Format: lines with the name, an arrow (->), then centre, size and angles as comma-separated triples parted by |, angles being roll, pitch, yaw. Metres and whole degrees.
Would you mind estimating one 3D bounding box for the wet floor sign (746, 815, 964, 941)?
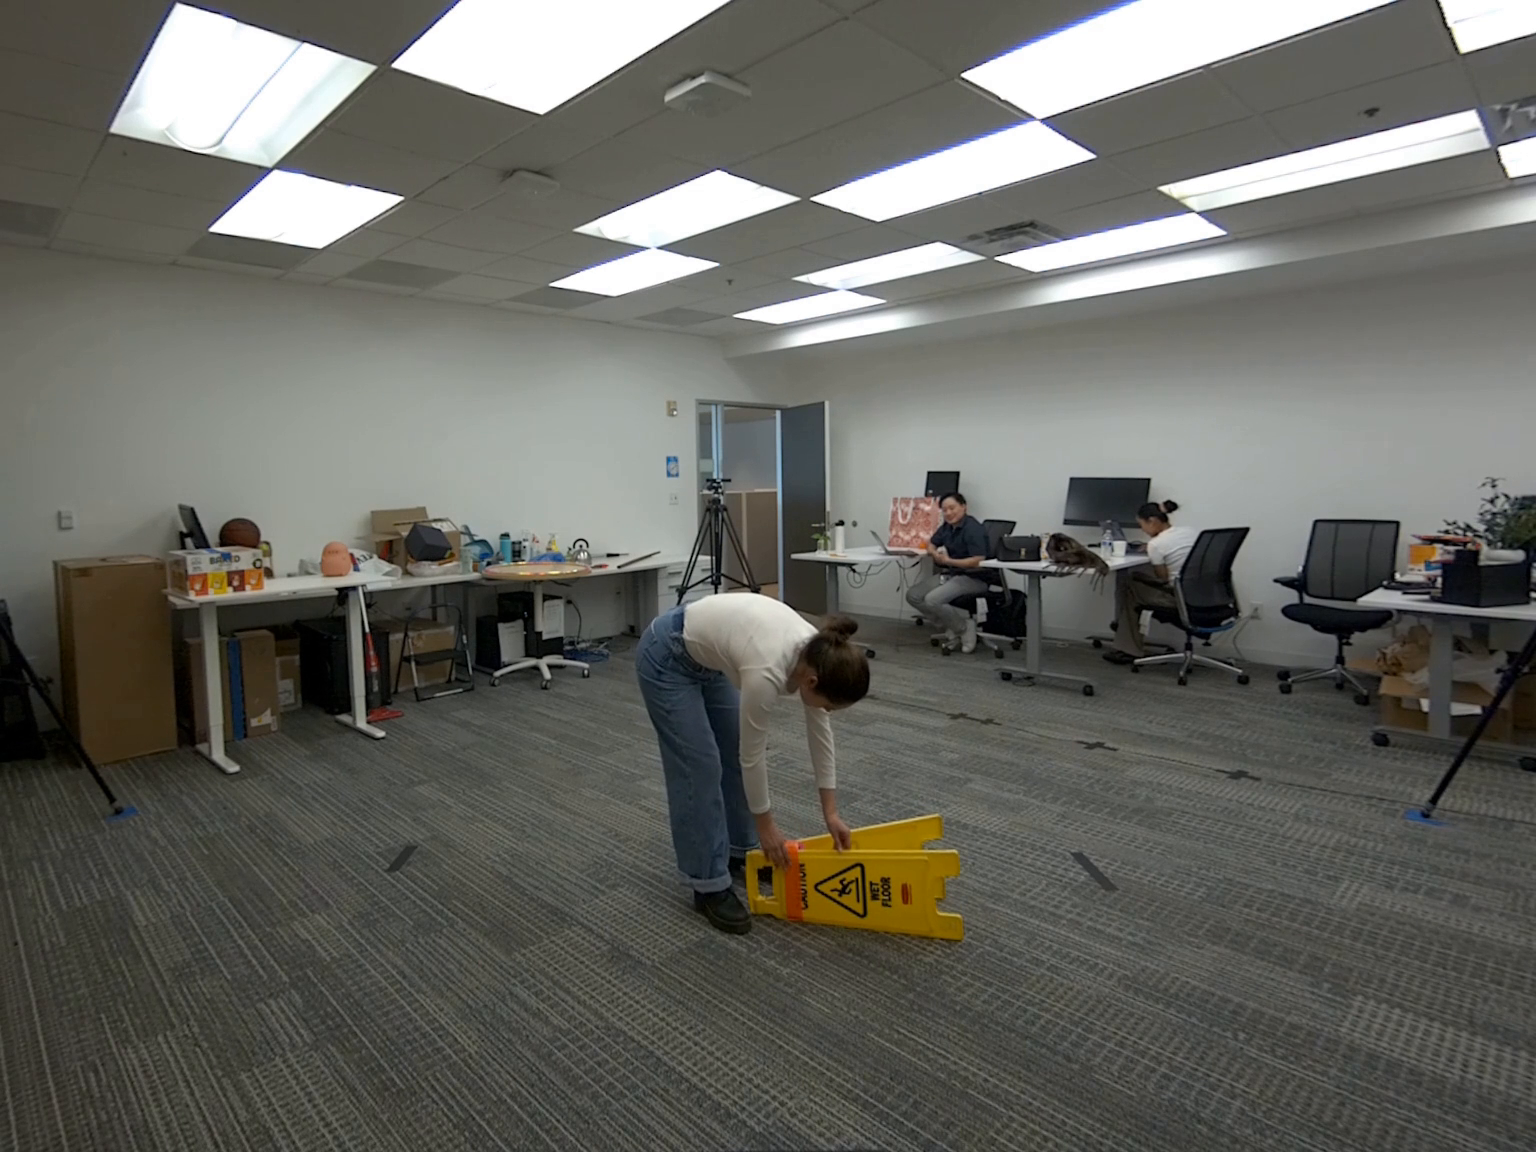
wet floor sign -> 0.259, 0.953, 2.705 | 0.648, 0.281, 0.290 | -4, 6, 3
